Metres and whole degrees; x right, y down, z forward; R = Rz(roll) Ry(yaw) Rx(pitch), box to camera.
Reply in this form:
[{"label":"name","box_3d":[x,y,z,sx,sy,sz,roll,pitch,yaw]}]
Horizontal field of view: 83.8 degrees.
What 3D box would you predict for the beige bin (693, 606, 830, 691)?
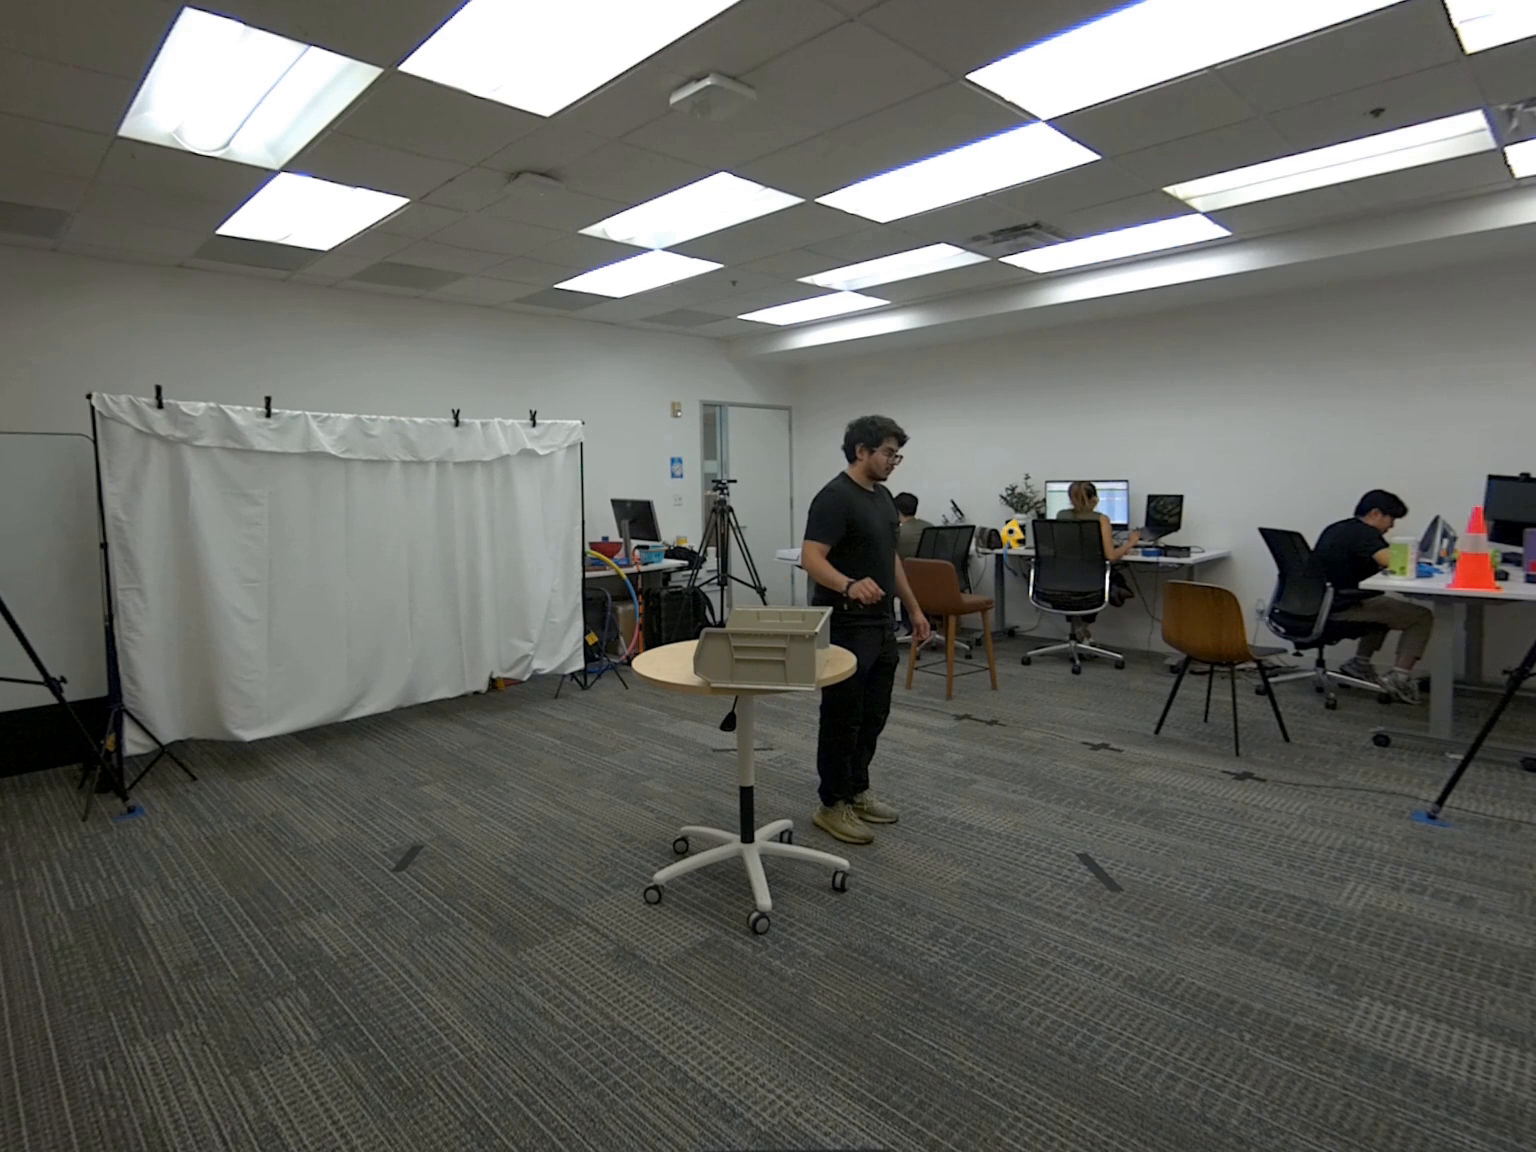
[{"label":"beige bin","box_3d":[-0.005,0.225,2.711,0.382,0.188,0.419,0,6,12]}]
